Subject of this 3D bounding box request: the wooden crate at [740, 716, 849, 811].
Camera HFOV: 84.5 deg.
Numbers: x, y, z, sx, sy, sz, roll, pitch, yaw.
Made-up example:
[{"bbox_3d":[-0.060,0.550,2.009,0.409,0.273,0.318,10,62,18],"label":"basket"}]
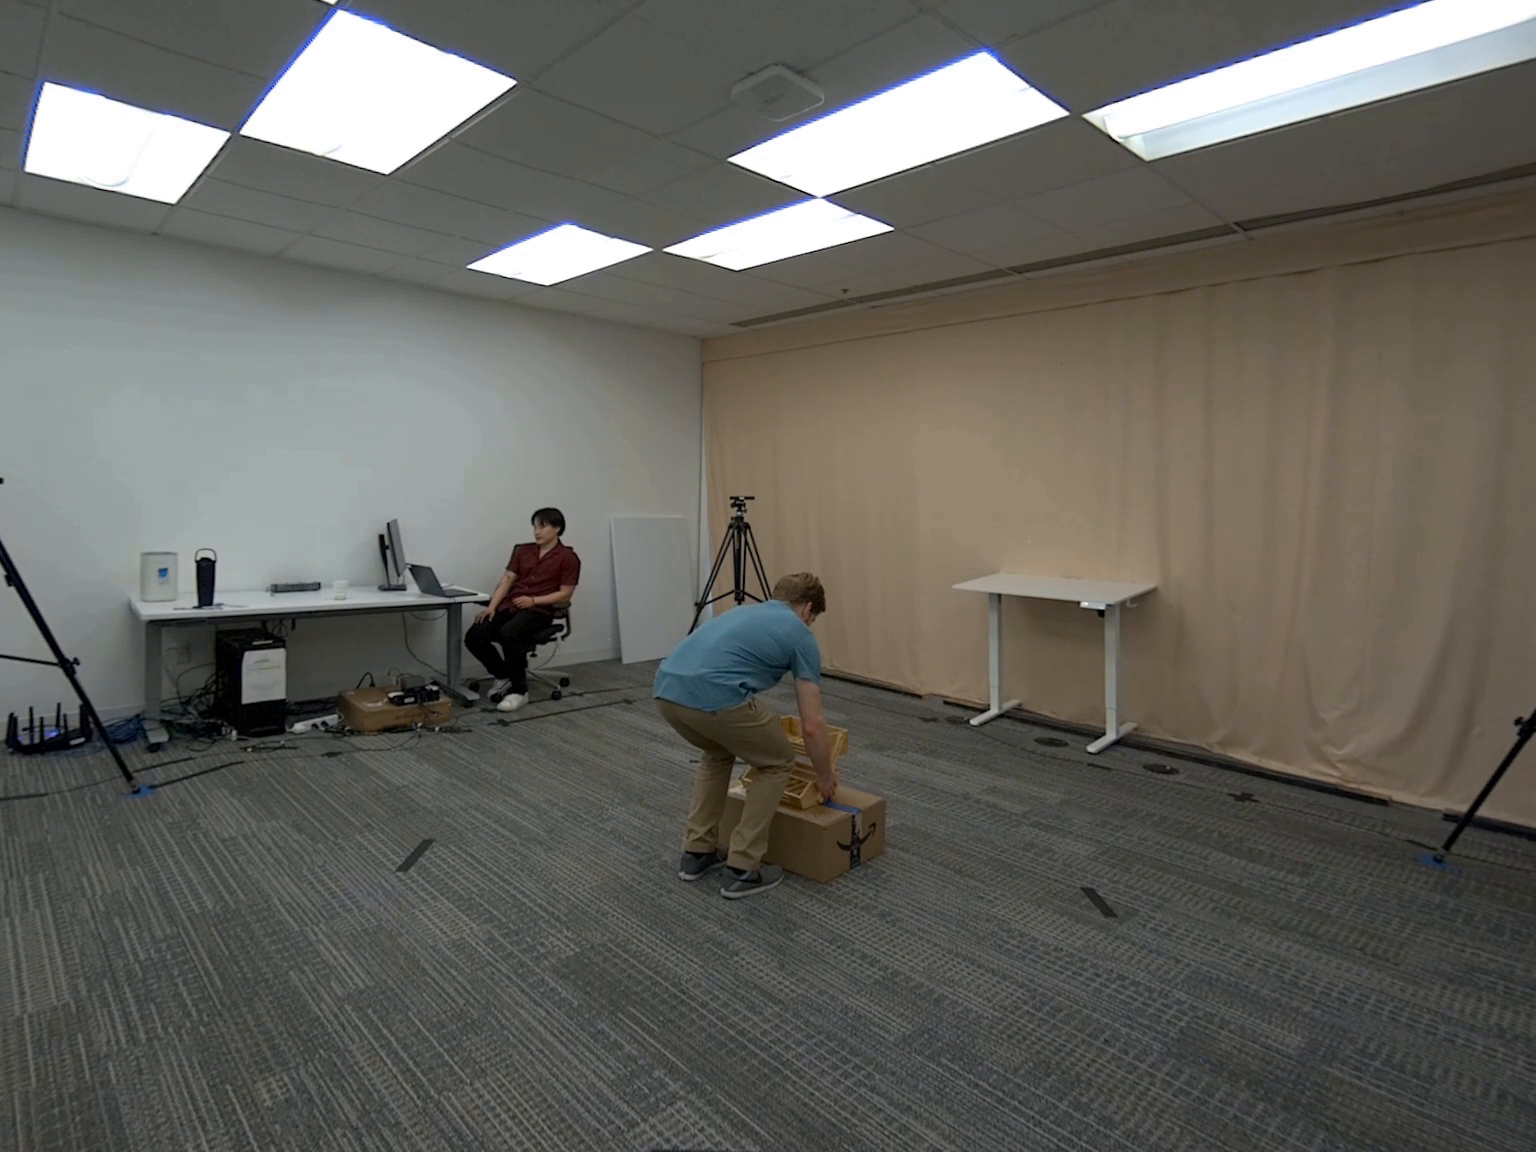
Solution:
[{"bbox_3d":[0.095,0.732,3.385,0.333,0.273,0.294,6,3,41],"label":"wooden crate"}]
